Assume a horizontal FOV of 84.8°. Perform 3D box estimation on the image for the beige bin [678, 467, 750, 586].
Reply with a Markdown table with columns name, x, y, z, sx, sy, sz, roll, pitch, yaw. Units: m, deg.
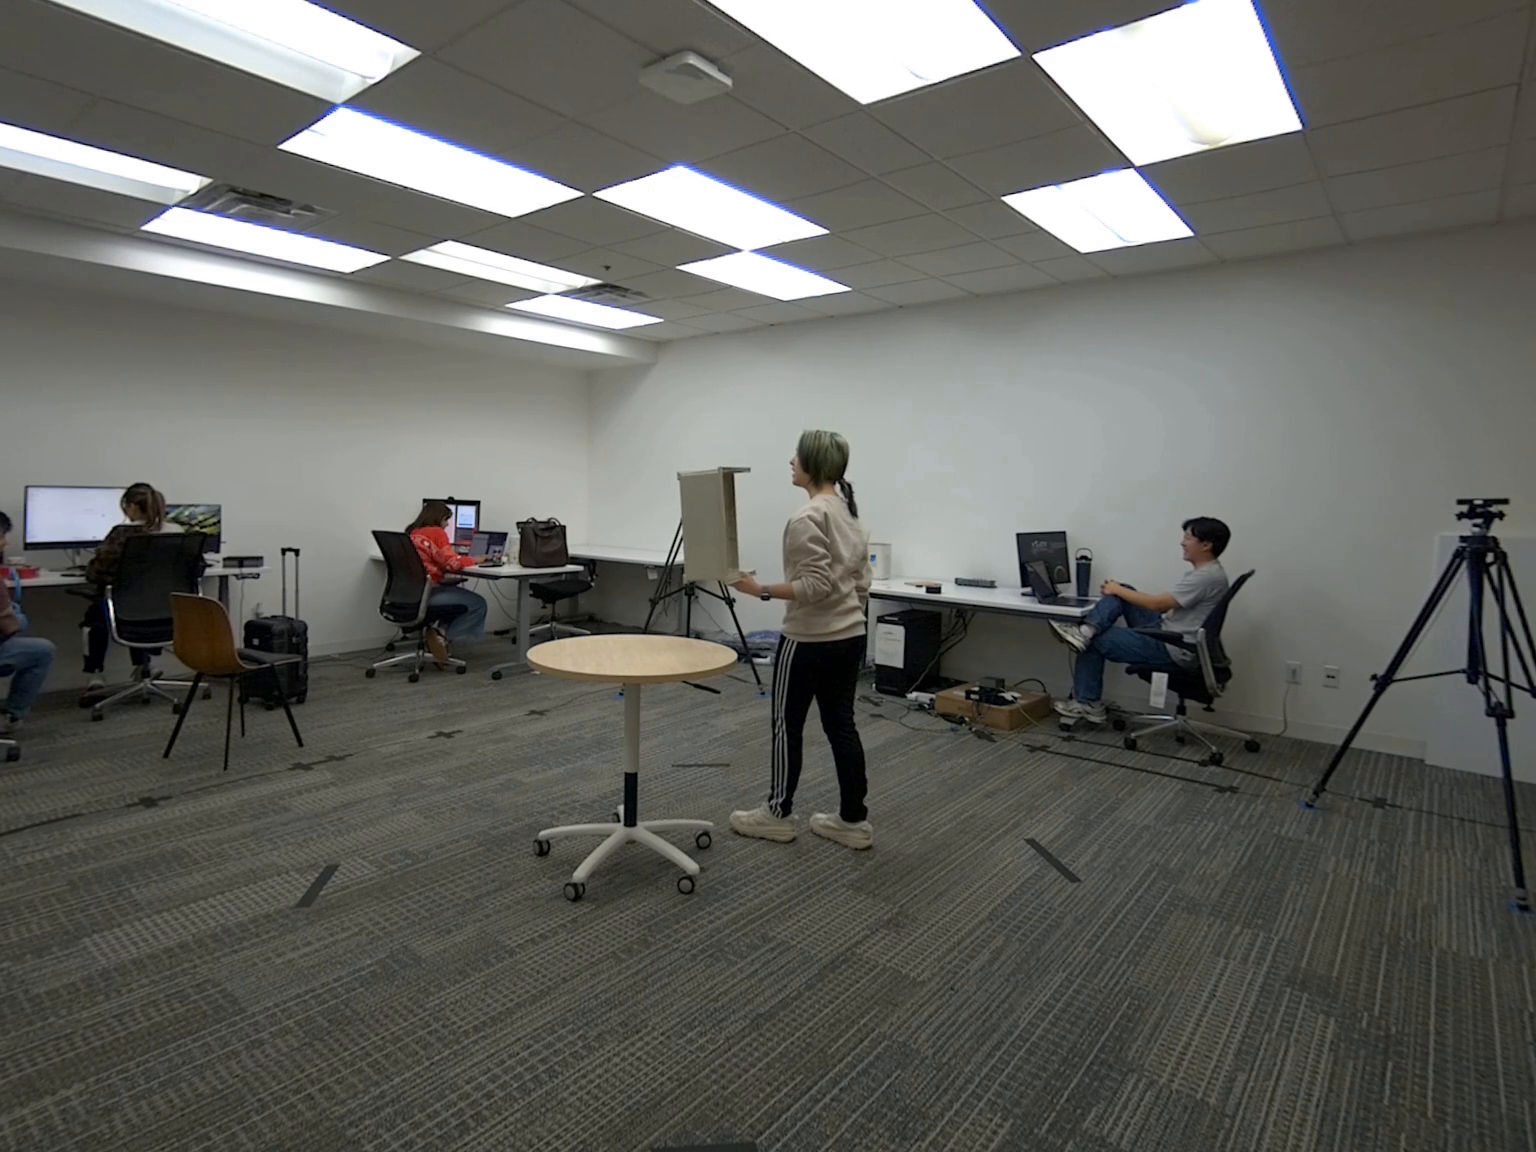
| name | x | y | z | sx | sy | sz | roll | pitch | yaw |
| --- | --- | --- | --- | --- | --- | --- | --- | --- | --- |
| beige bin | -0.191 | -0.203 | 3.231 | 0.193 | 0.421 | 0.371 | -3 | 4 | 19 |
